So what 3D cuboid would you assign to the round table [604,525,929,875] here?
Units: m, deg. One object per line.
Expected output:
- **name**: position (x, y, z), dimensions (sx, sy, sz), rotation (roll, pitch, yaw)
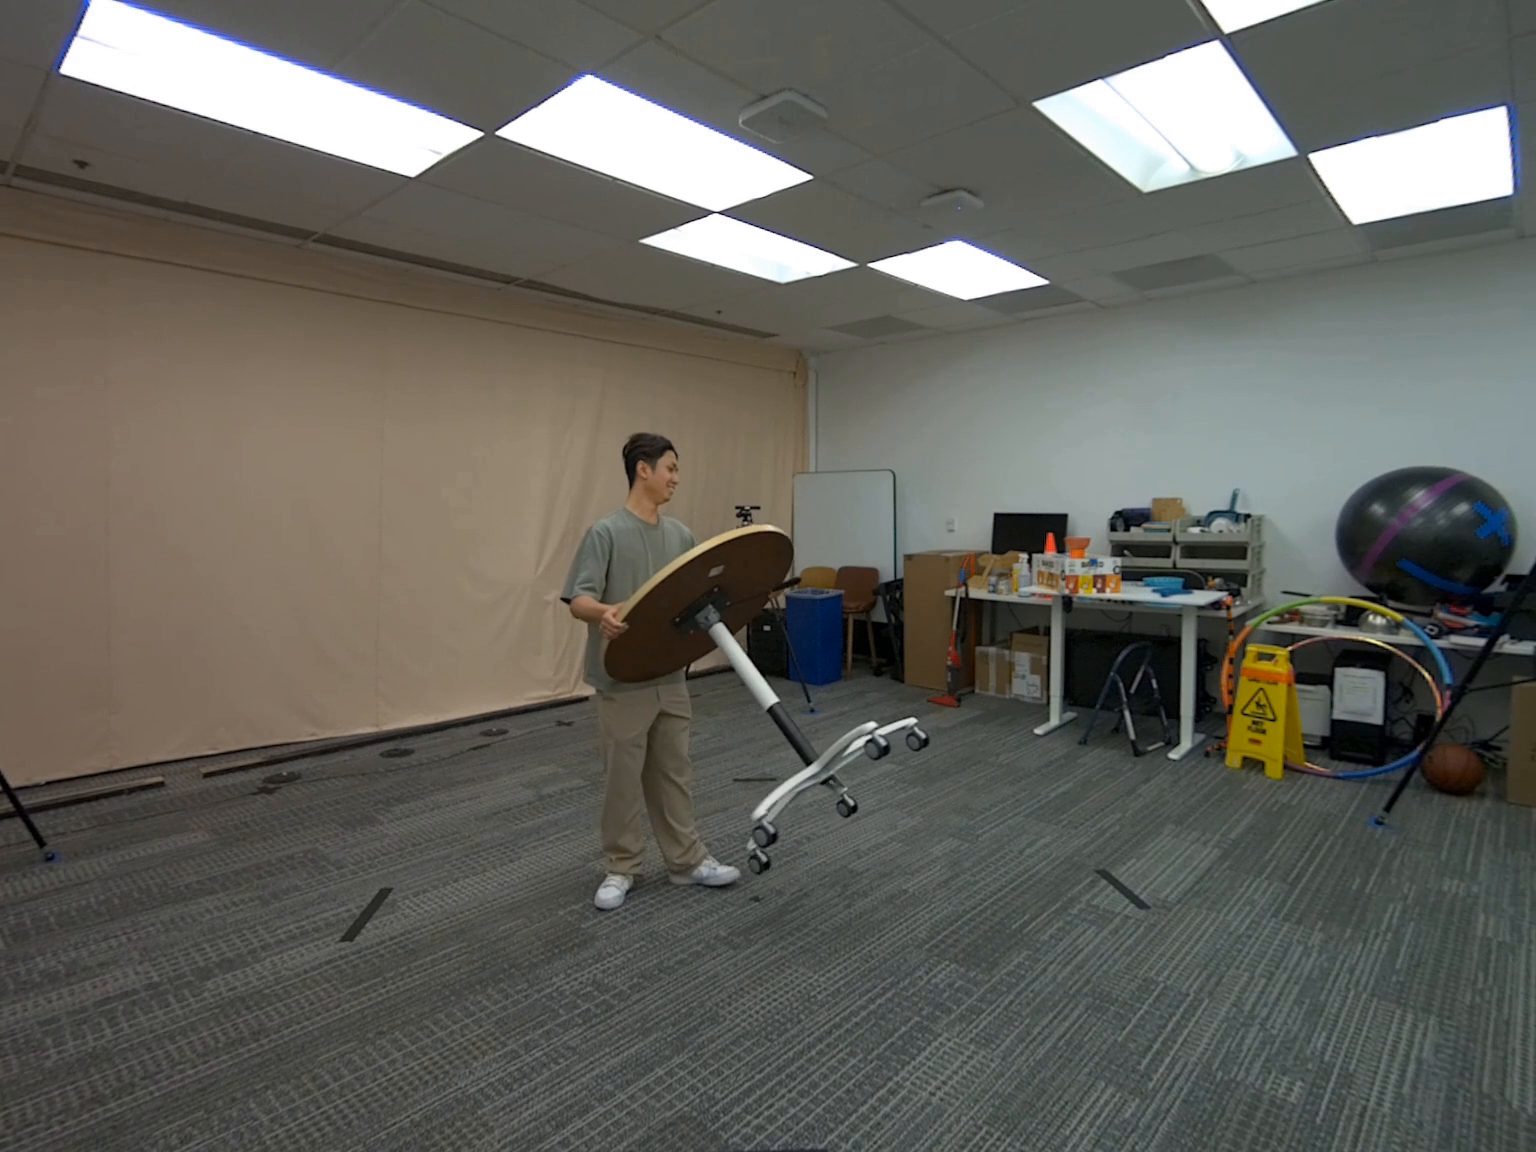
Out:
- **round table**: position (-0.010, 0.393, 2.685), dimensions (0.761, 0.788, 0.808), rotation (-4, 50, -51)
